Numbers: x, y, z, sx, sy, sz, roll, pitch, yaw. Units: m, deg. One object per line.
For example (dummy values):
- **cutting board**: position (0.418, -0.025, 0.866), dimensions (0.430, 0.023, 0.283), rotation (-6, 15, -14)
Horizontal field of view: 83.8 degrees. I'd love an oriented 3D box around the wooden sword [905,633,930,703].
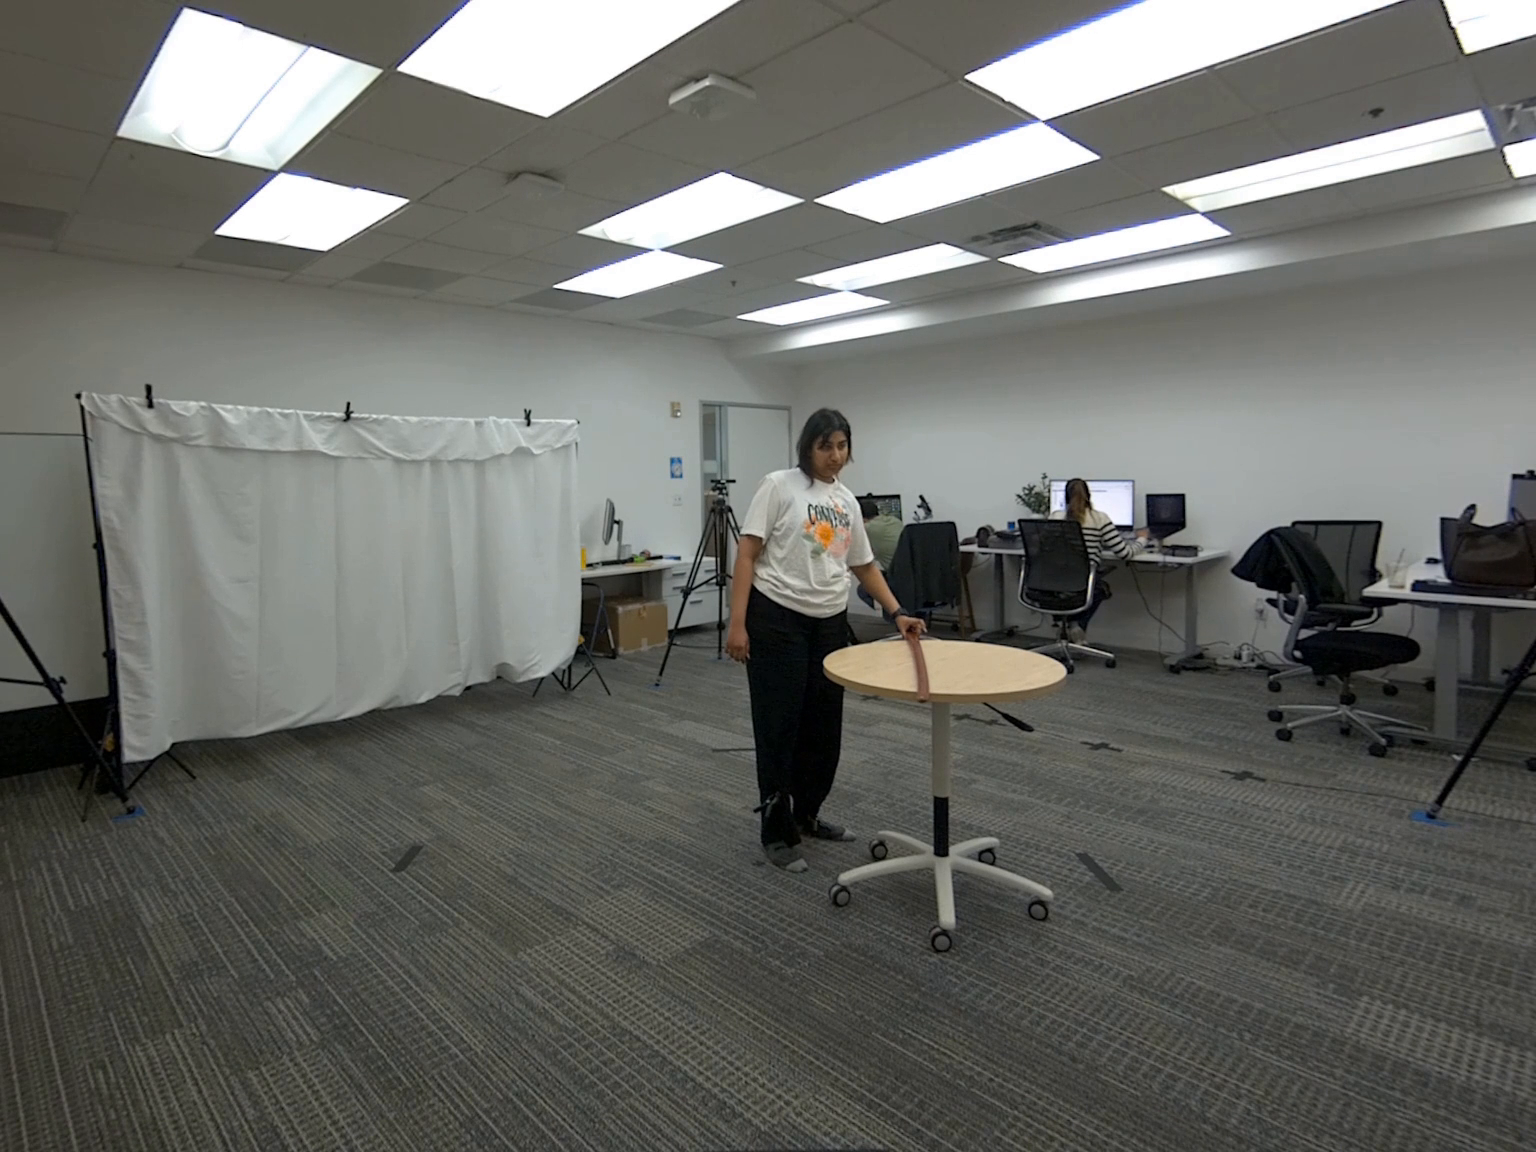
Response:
- **wooden sword**: position (0.469, 0.249, 2.840), dimensions (0.052, 0.024, 1.019), rotation (-18, 4, 11)
